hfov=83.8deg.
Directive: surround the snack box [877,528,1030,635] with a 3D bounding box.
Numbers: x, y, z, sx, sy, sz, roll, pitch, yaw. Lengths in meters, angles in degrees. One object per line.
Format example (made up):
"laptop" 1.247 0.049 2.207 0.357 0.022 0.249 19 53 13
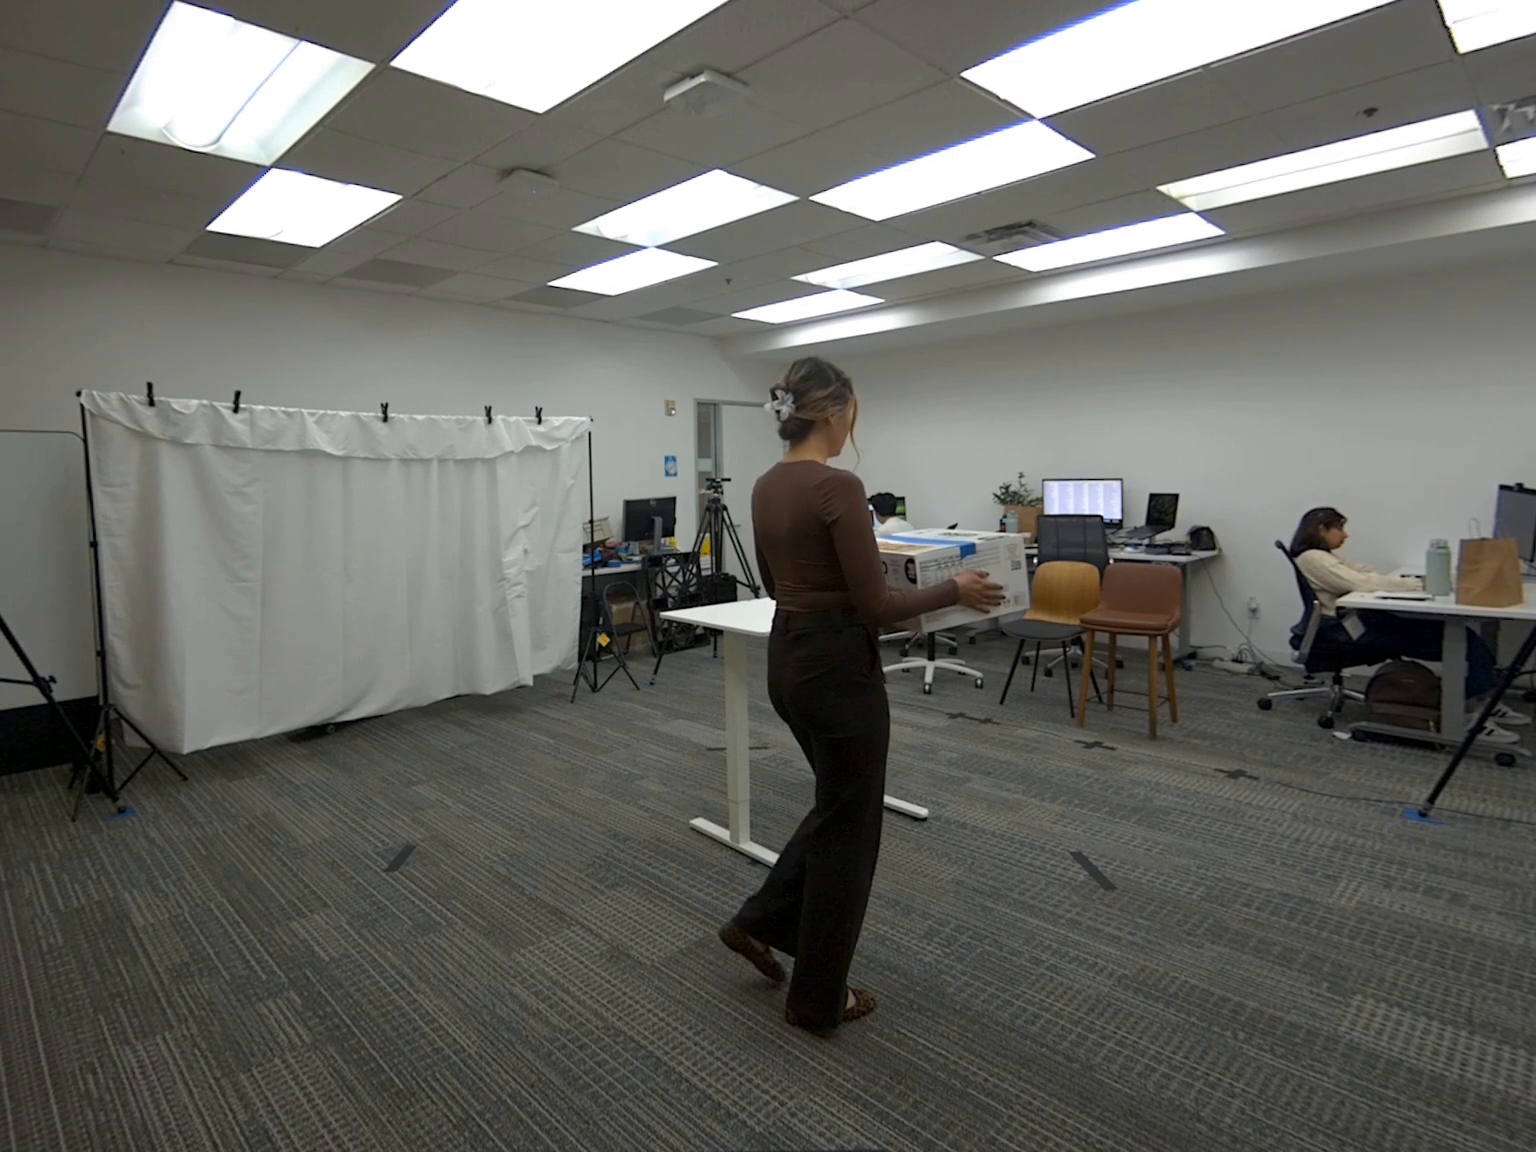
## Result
"snack box" 0.442 -0.001 2.364 0.334 0.204 0.415 -10 9 -23
